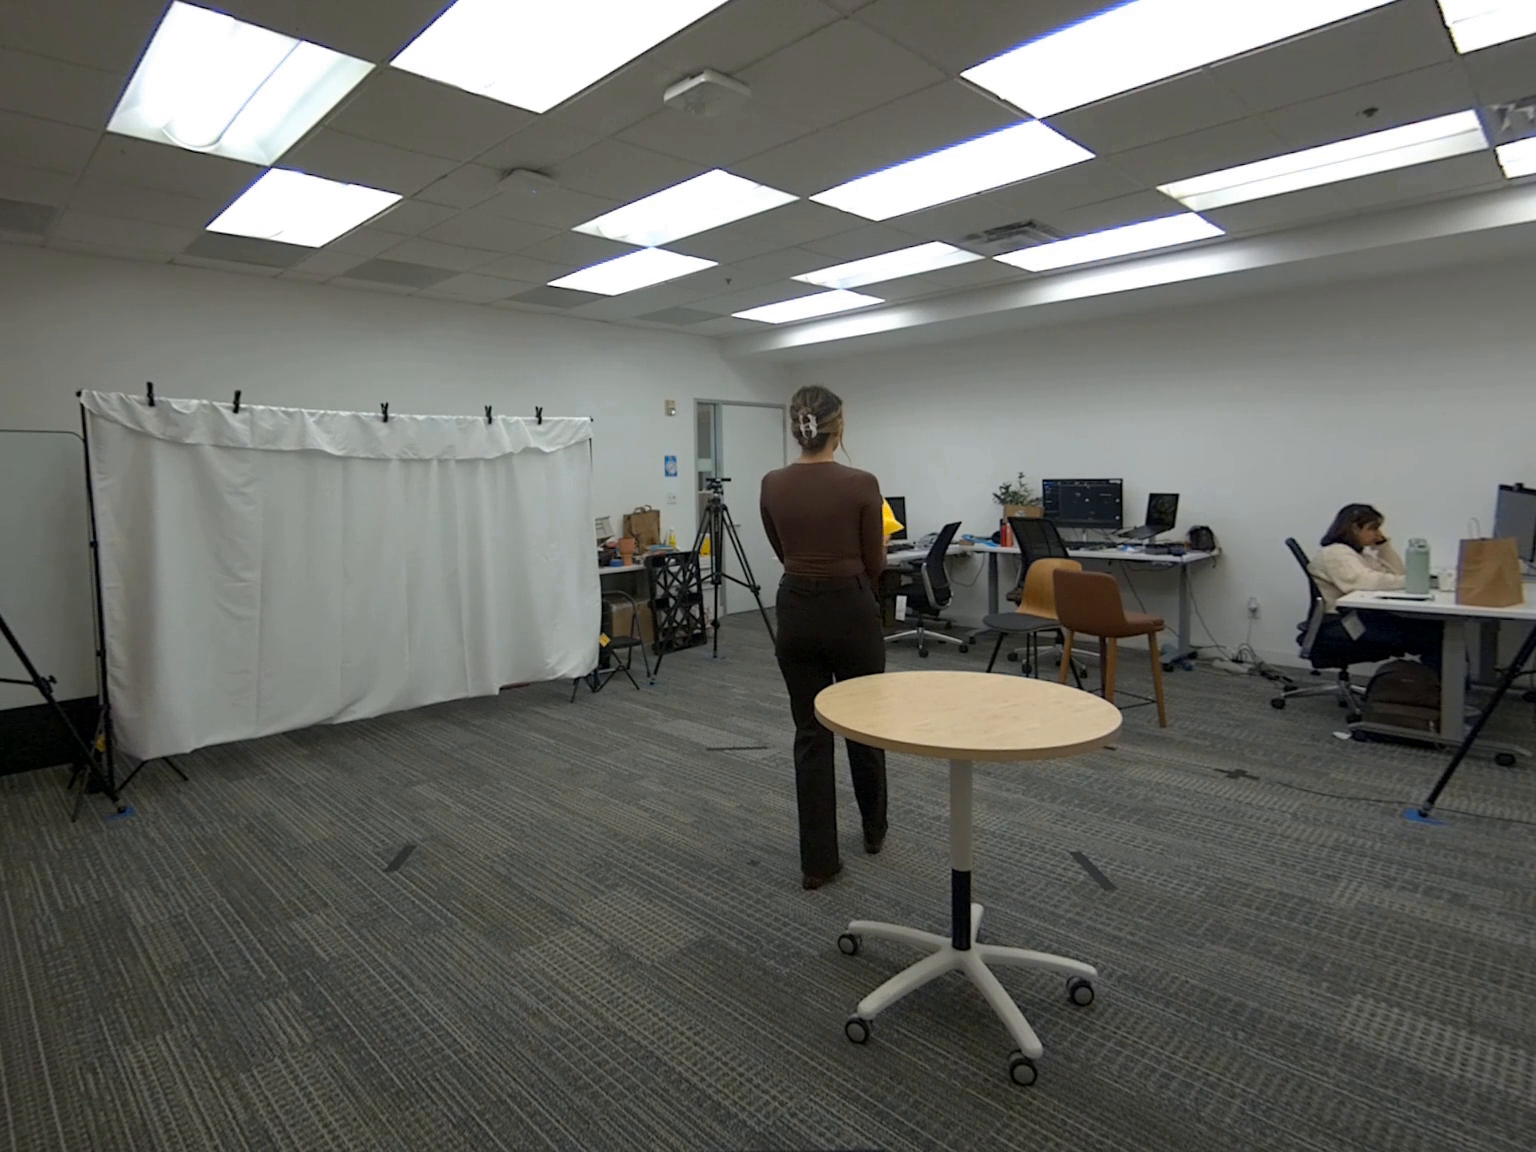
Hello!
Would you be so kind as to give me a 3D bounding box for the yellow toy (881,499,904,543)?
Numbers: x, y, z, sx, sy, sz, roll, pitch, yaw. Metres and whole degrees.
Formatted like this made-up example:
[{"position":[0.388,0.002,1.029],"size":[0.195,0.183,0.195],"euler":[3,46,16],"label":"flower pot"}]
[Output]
[{"position":[0.393,-0.283,3.296],"size":[0.191,0.228,0.209],"euler":[-14,10,-17],"label":"yellow toy"}]
